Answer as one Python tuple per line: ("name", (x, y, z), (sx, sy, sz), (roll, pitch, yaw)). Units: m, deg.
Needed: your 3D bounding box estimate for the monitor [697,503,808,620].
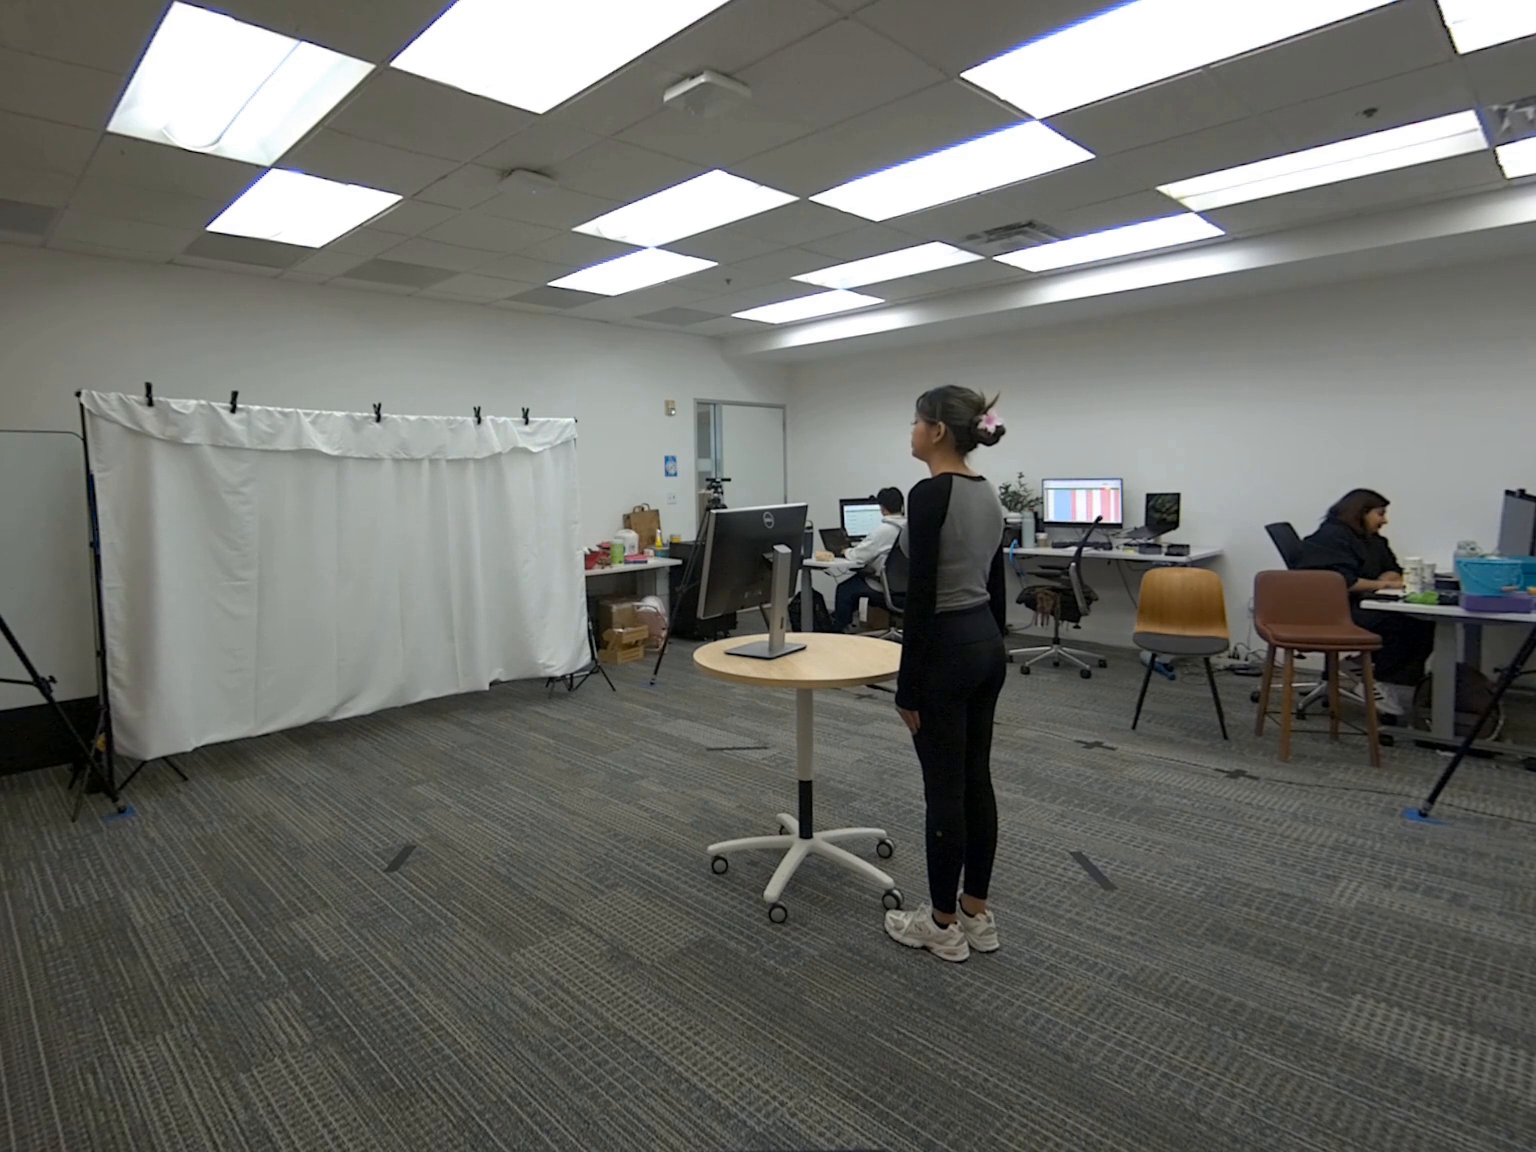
("monitor", (-0.009, 0.022, 2.978), (0.192, 0.521, 0.526), (-2, 4, 35))
